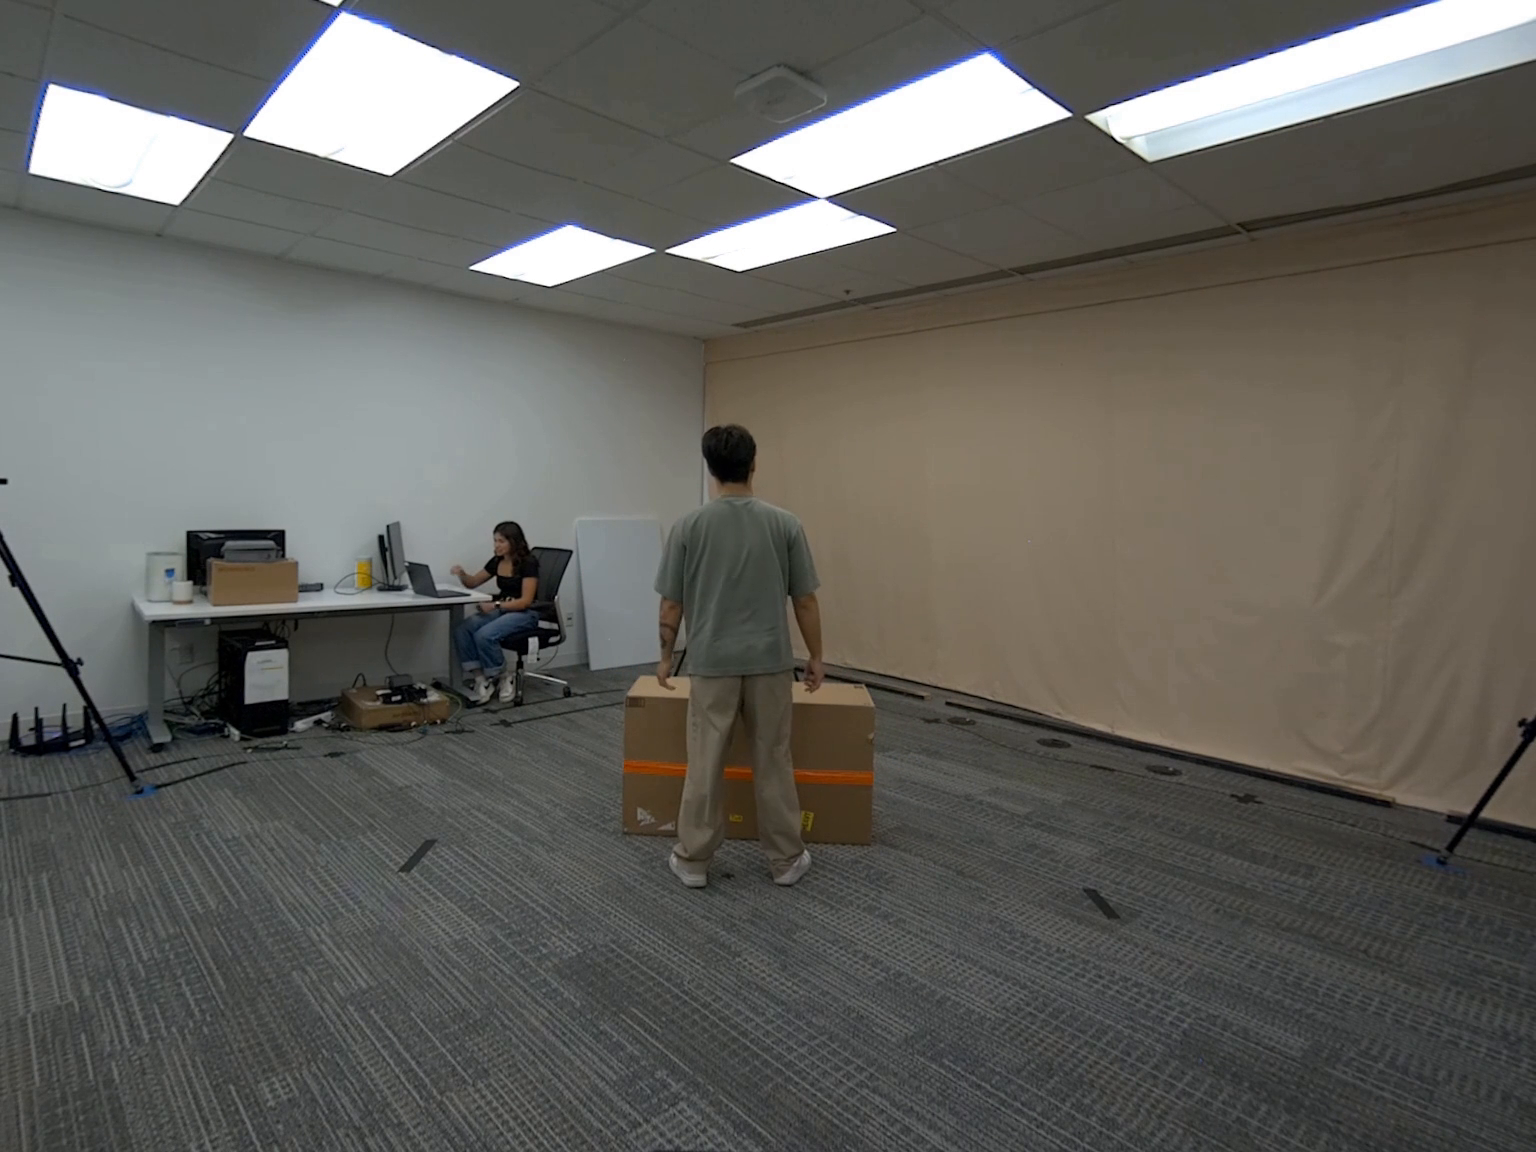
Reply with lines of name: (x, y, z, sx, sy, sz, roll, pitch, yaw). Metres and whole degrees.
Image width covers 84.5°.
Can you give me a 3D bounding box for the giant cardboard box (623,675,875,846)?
giant cardboard box: (-0.088, 0.768, 3.631, 1.028, 0.576, 0.426, 2, 4, 2)
